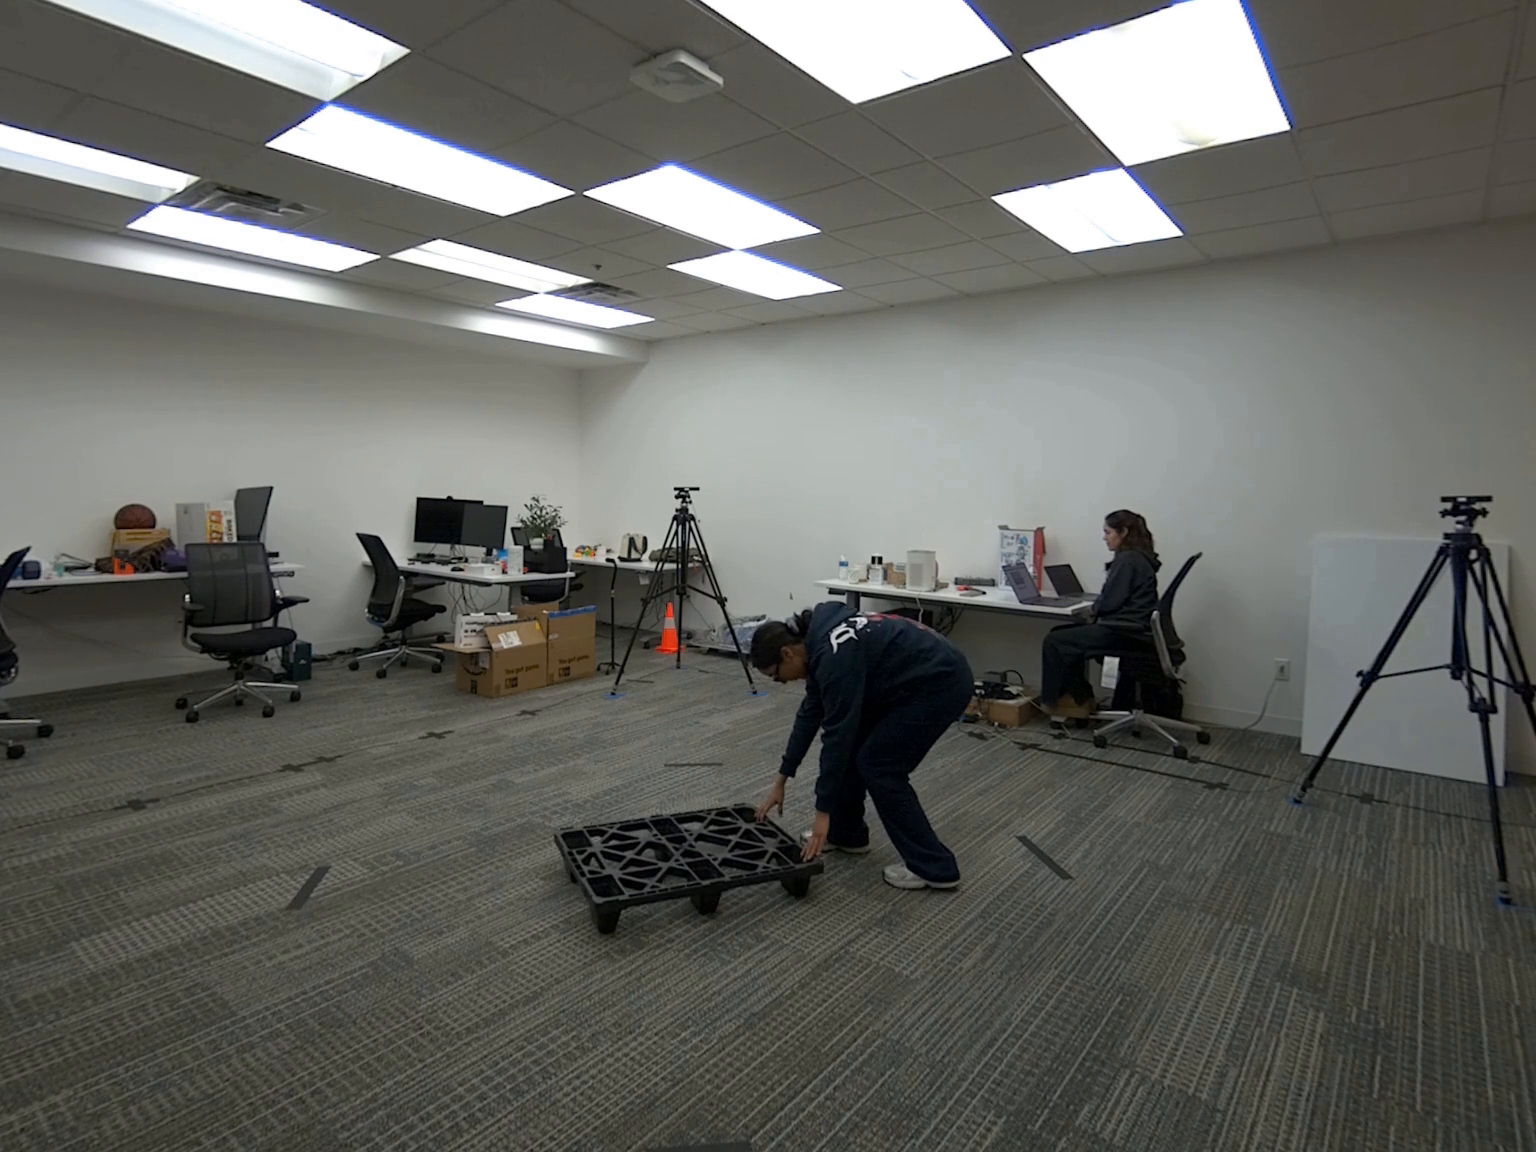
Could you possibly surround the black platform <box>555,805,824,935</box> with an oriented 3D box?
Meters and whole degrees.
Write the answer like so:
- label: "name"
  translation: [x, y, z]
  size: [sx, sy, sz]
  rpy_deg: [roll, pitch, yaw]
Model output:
- label: "black platform"
  translation: [-0.299, 1.006, 2.987]
  size: [0.787, 0.143, 0.622]
  rpy_deg: [-2, 7, -24]
